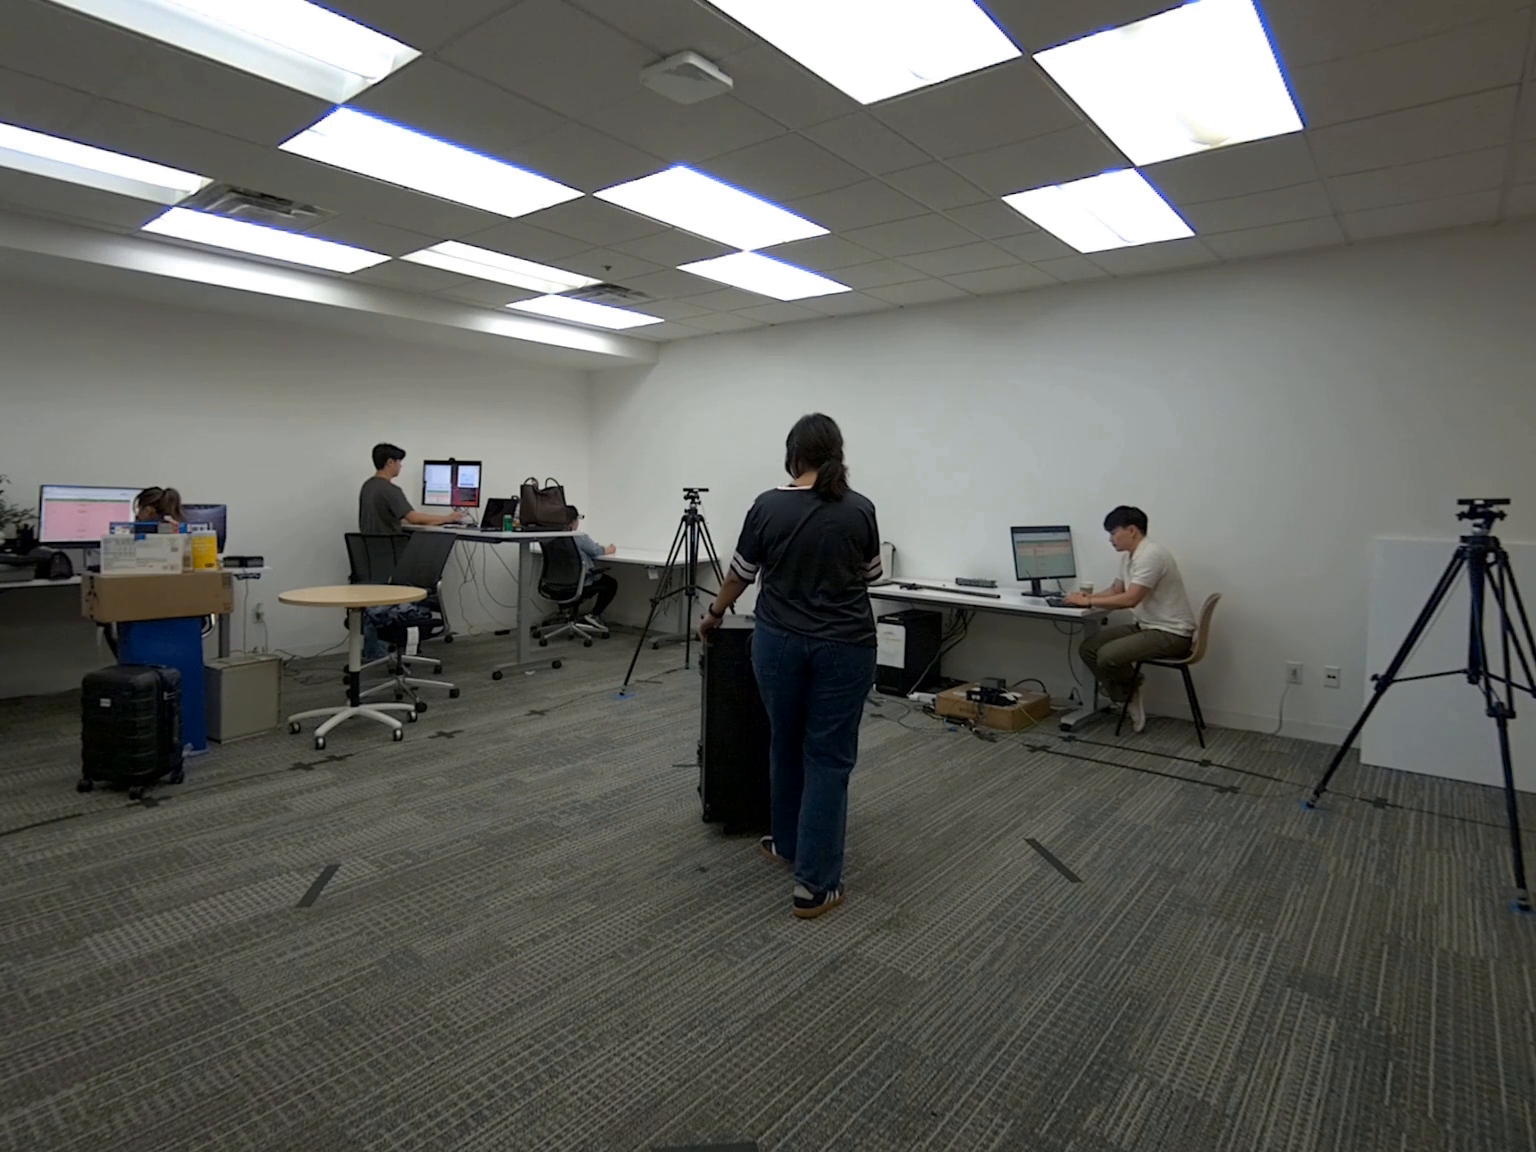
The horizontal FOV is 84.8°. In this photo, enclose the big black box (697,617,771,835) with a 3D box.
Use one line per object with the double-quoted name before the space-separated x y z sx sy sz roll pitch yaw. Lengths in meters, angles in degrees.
"big black box" -0.033 0.609 3.531 0.520 0.865 0.389 1 4 -7
